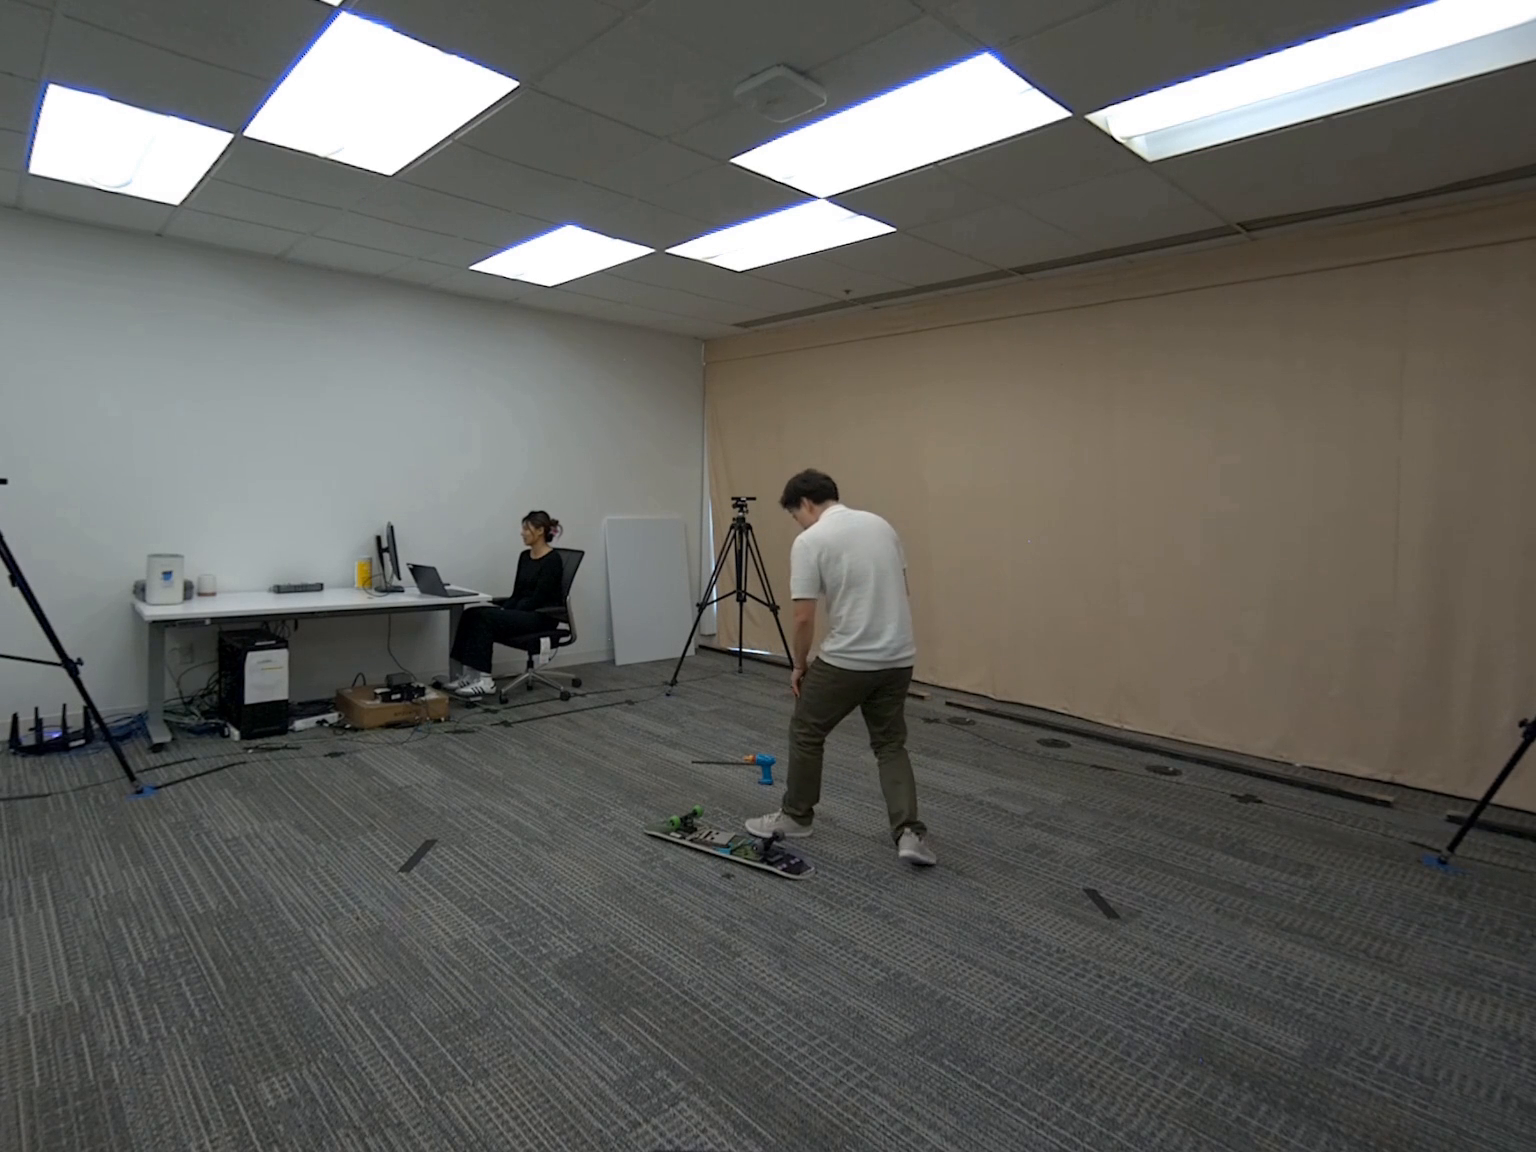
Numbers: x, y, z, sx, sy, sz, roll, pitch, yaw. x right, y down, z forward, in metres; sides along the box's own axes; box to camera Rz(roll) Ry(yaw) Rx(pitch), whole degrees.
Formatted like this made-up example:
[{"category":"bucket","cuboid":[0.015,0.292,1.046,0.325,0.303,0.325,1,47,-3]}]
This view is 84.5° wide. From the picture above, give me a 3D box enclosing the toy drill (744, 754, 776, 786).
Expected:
[{"category":"toy drill","cuboid":[-0.062,0.943,4.154,0.171,0.145,0.061,2,6,12]}]
